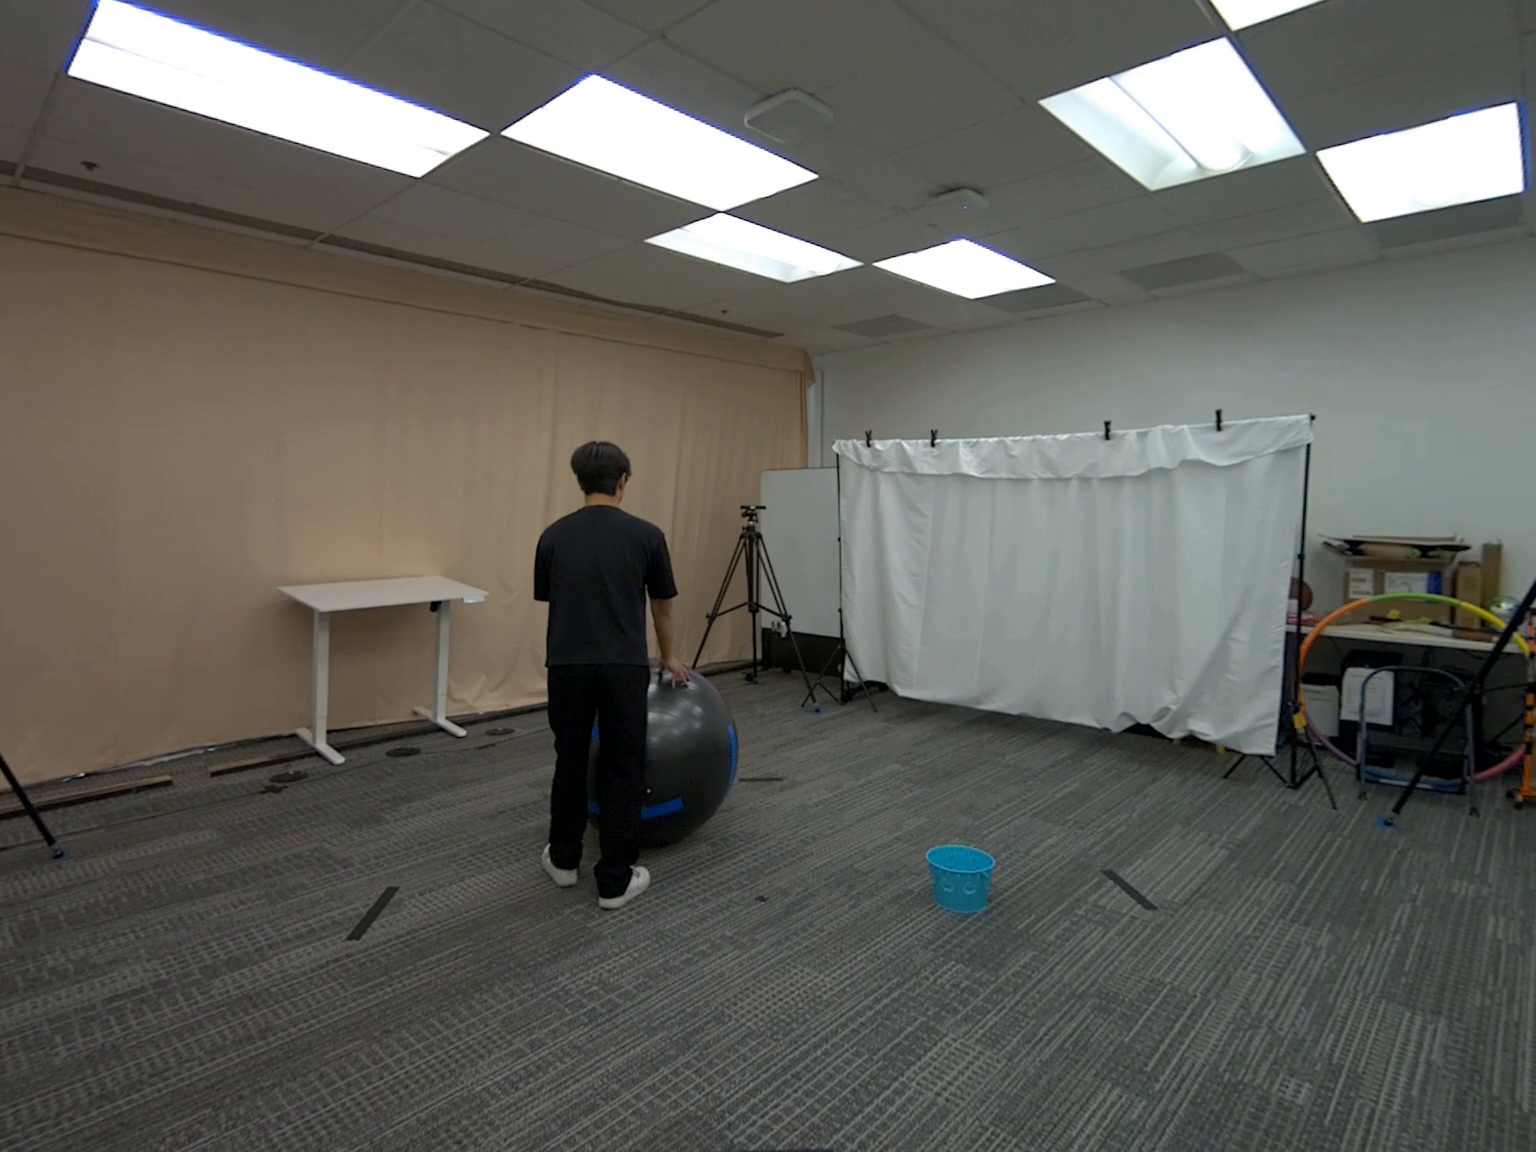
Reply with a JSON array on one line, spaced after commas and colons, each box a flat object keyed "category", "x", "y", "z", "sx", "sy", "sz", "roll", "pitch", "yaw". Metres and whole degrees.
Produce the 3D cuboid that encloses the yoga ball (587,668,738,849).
[{"category": "yoga ball", "x": -0.504, "y": 0.738, "z": 3.556, "sx": 0.757, "sy": 0.756, "sz": 0.760, "roll": 0, "pitch": 4, "yaw": -2}]
